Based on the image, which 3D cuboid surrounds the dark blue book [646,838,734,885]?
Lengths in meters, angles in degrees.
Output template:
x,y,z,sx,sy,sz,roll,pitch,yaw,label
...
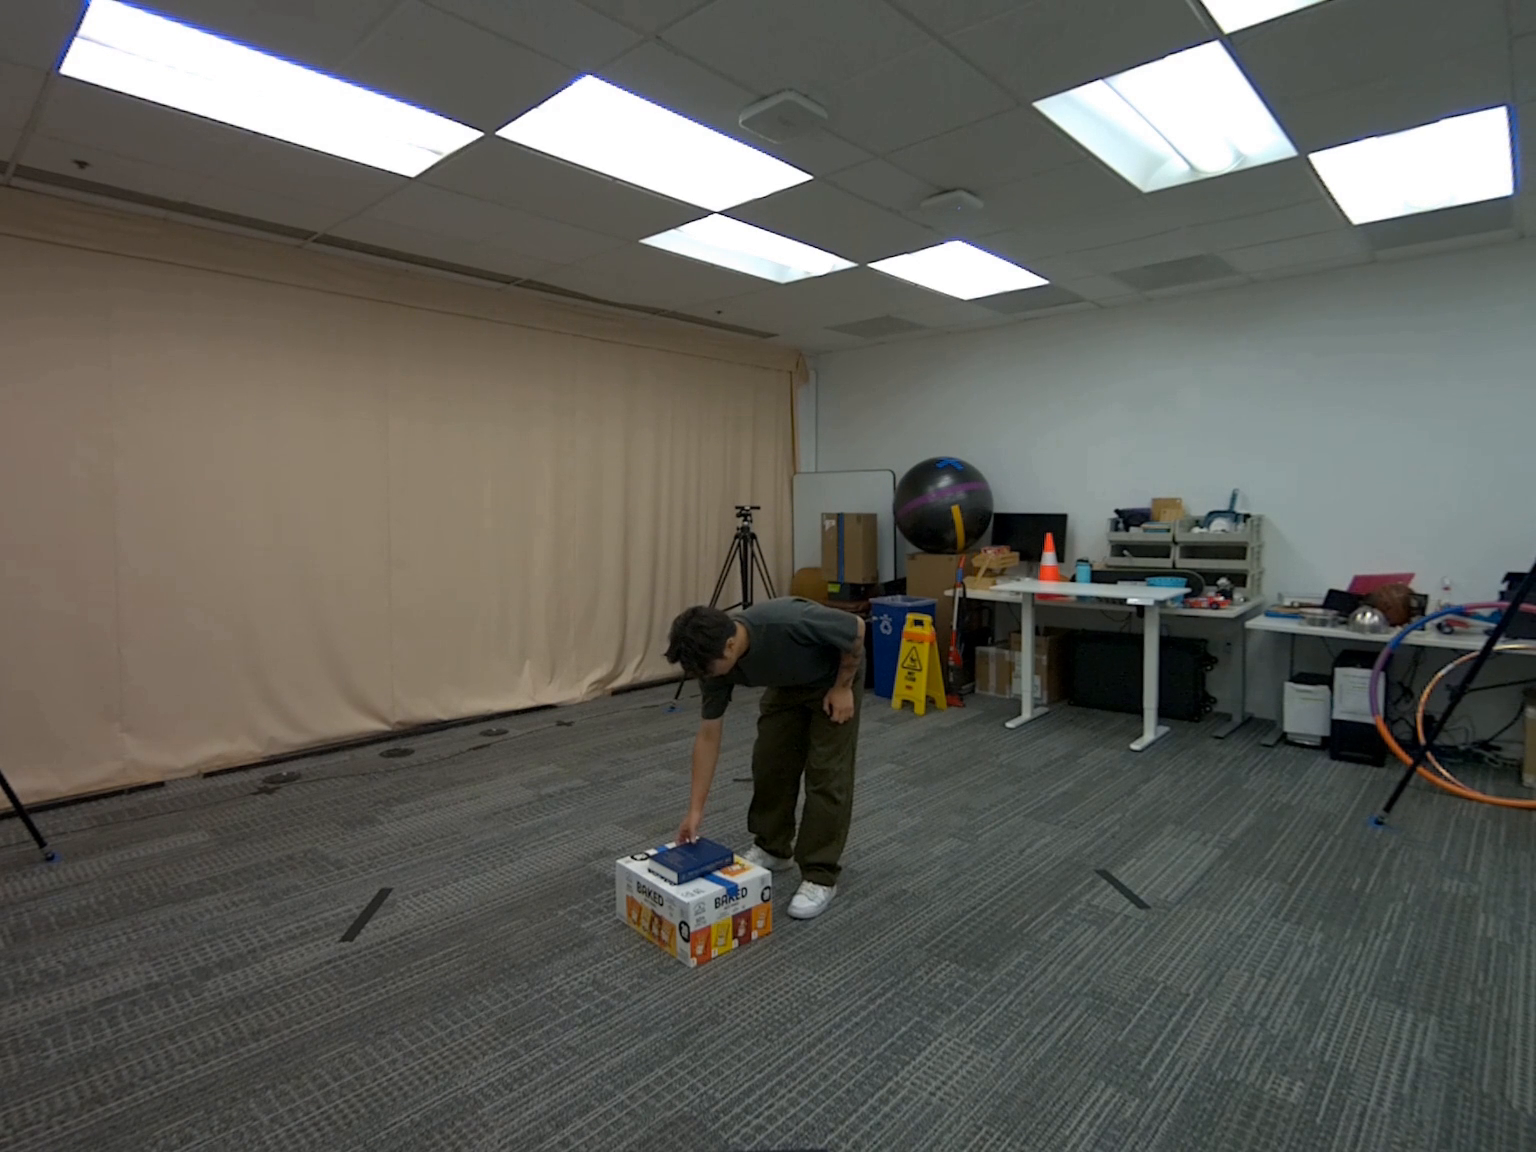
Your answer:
x,y,z,sx,sy,sz,roll,pitch,yaw,label
-0.259,0.949,2.784,0.238,0.045,0.169,-4,7,-41,dark blue book
